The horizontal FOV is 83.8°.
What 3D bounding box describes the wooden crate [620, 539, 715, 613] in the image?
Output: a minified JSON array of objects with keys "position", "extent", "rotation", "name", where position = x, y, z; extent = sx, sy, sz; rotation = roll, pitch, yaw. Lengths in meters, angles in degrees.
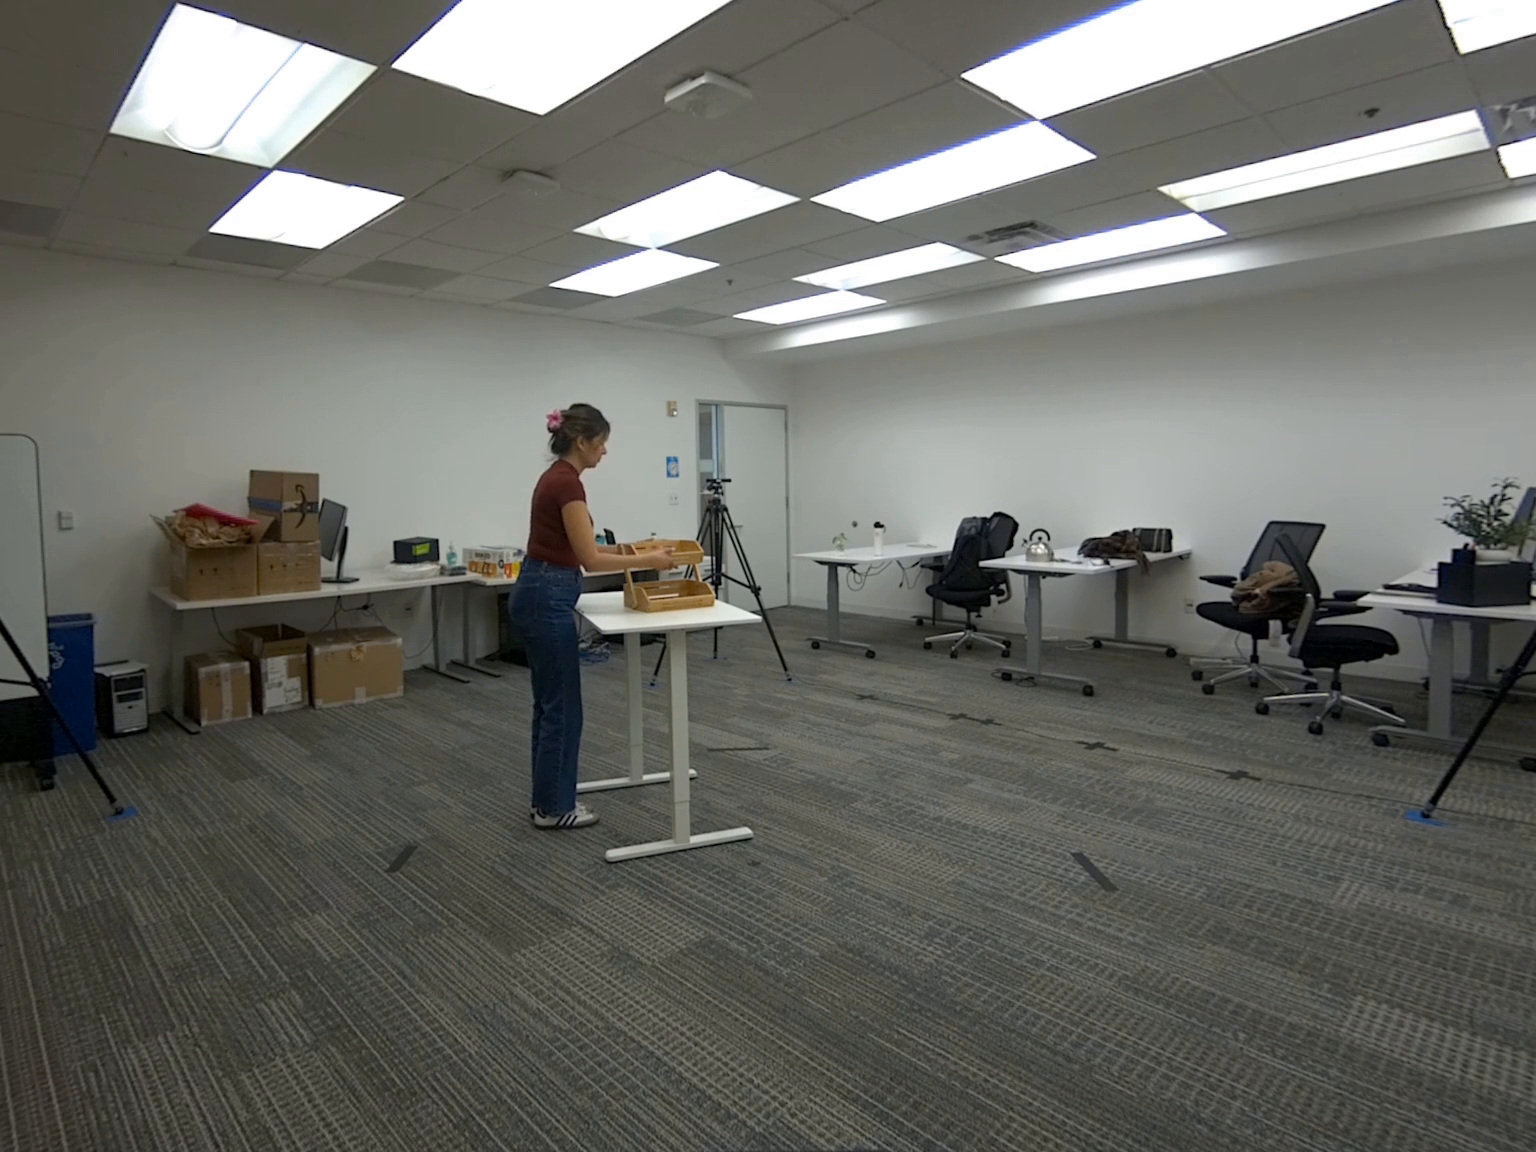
[{"position":[-0.422,-0.011,3.525],"extent":[0.317,0.272,0.310],"rotation":[-4,5,-31],"name":"wooden crate"}]
